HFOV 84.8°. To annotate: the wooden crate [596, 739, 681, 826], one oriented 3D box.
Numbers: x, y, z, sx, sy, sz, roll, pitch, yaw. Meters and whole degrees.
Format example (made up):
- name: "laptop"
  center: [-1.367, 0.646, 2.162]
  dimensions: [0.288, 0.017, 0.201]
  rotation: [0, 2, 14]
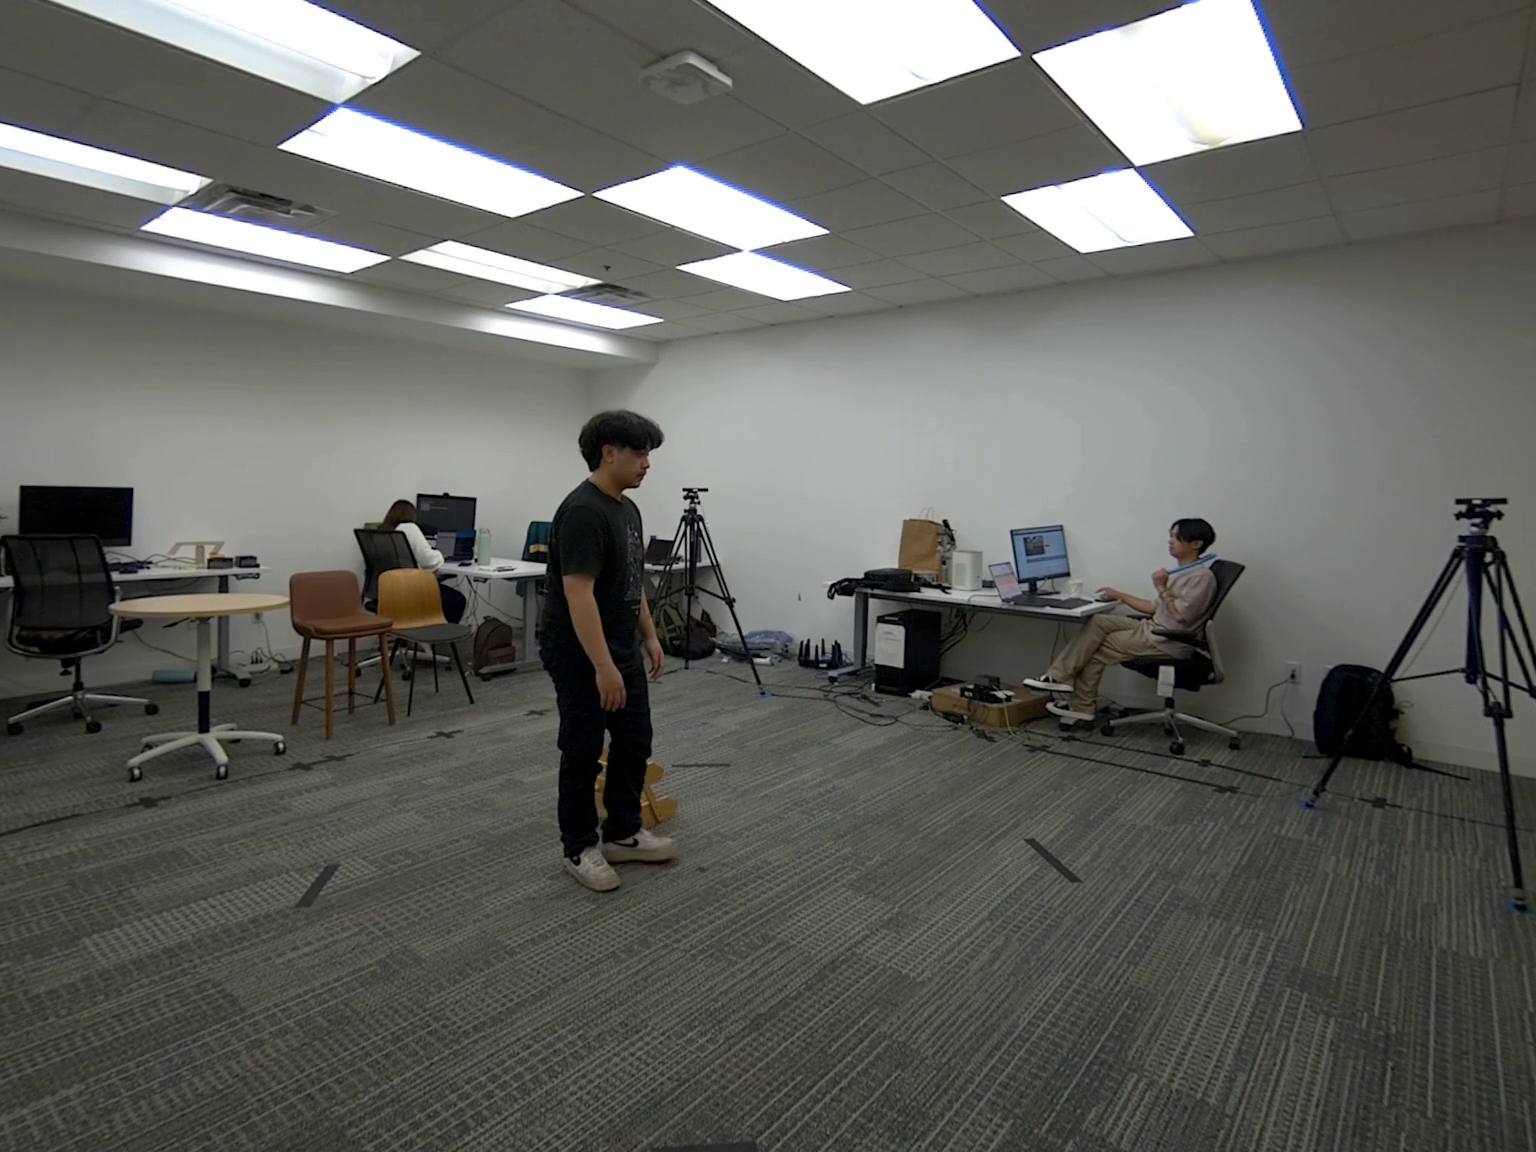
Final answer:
- name: "wooden crate"
  center: [-0.602, 0.874, 3.610]
  dimensions: [0.335, 0.272, 0.293]
  rotation: [4, 6, 38]
